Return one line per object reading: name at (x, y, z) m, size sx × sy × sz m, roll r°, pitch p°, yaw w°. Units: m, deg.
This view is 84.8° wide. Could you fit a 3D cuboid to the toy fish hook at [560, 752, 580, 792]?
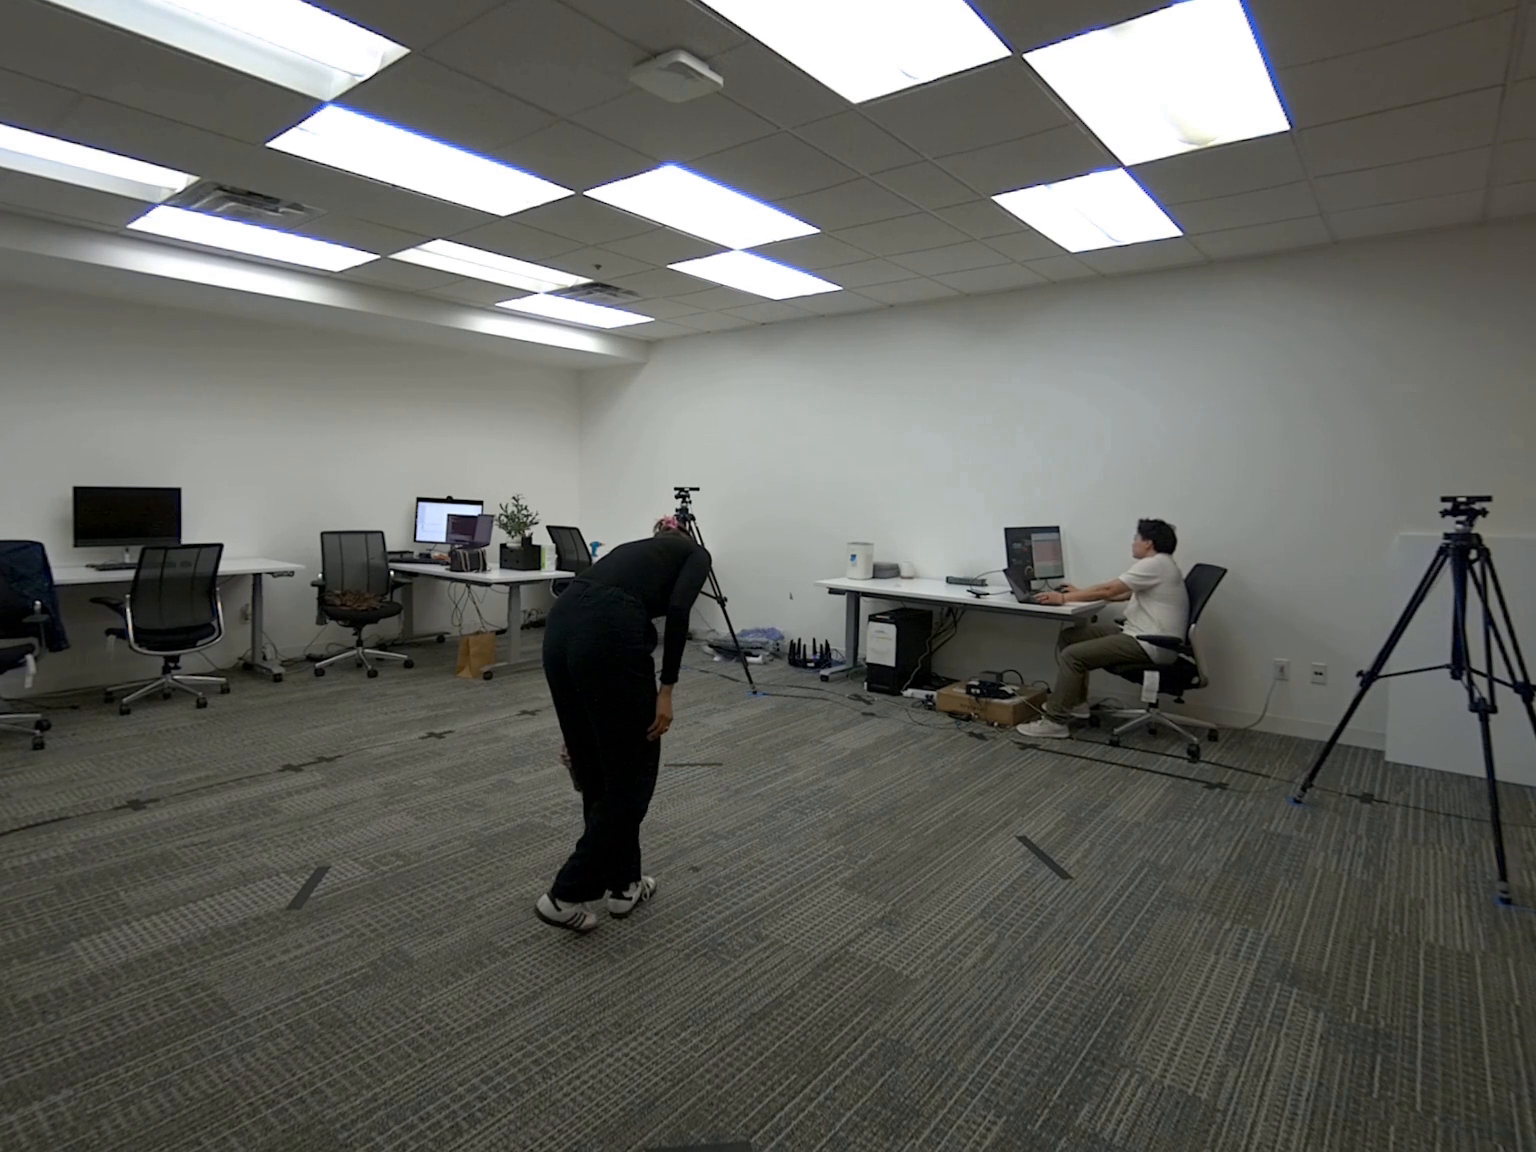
toy fish hook at (-0.679, 0.825, 3.065) m, size 0.049 × 0.490 × 0.230 m, roll -5°, pitch 36°, yaw 7°
